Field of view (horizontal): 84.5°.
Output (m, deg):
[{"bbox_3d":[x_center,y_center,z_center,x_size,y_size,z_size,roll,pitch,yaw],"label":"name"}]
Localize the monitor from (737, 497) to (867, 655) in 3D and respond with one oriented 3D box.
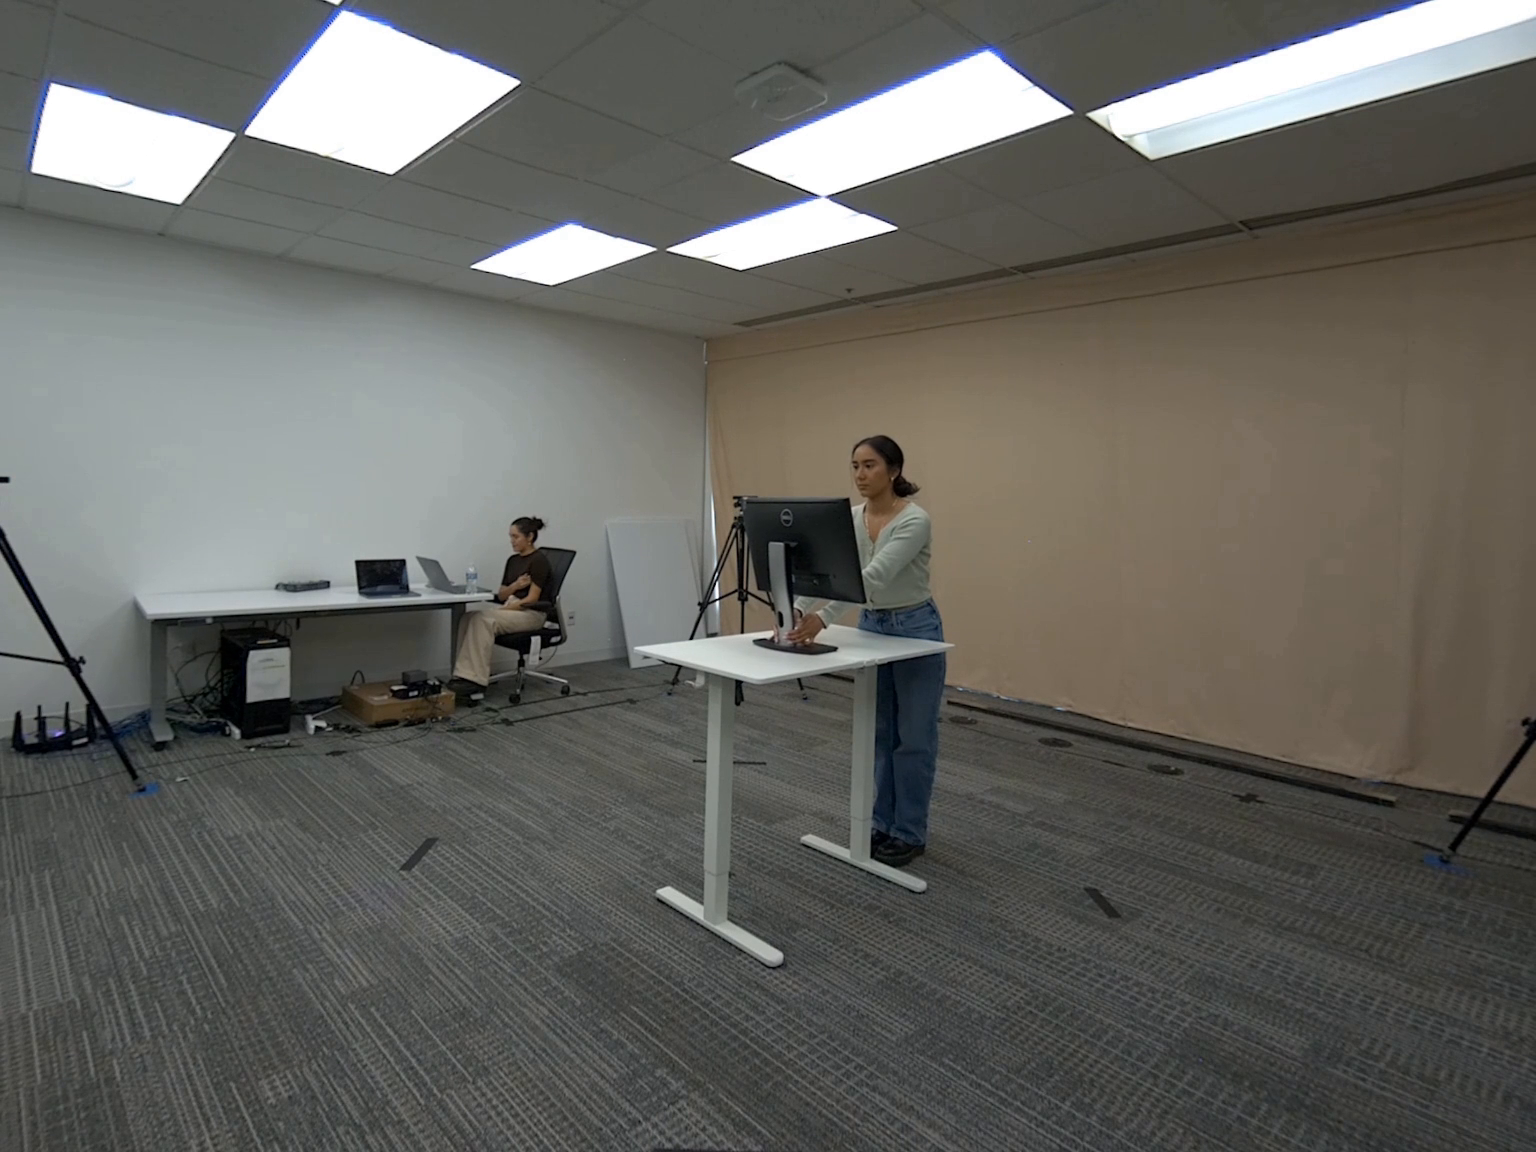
[{"bbox_3d":[0.070,-0.005,2.861,0.183,0.521,0.553,-3,5,-41],"label":"monitor"}]
